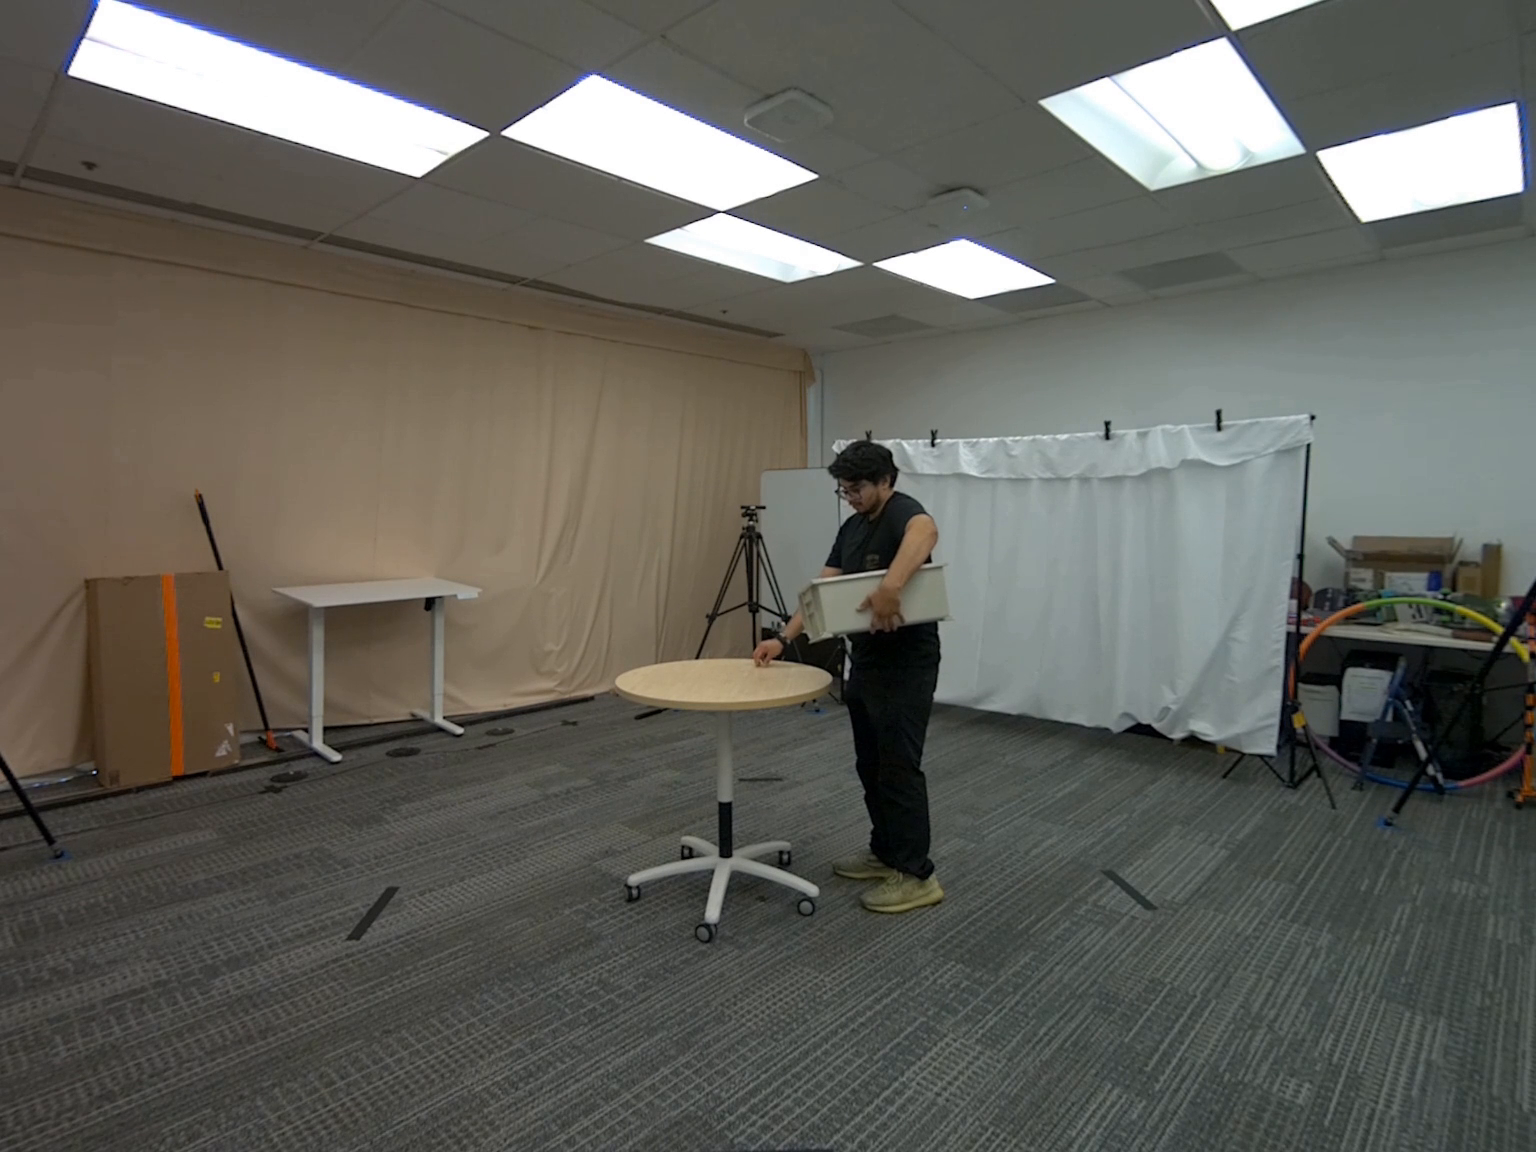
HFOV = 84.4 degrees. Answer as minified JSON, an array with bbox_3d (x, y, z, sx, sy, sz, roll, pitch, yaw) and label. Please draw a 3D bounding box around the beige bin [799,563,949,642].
[{"bbox_3d":[0.348,0.093,2.732,0.421,0.190,0.377,-7,-5,-4],"label":"beige bin"}]
